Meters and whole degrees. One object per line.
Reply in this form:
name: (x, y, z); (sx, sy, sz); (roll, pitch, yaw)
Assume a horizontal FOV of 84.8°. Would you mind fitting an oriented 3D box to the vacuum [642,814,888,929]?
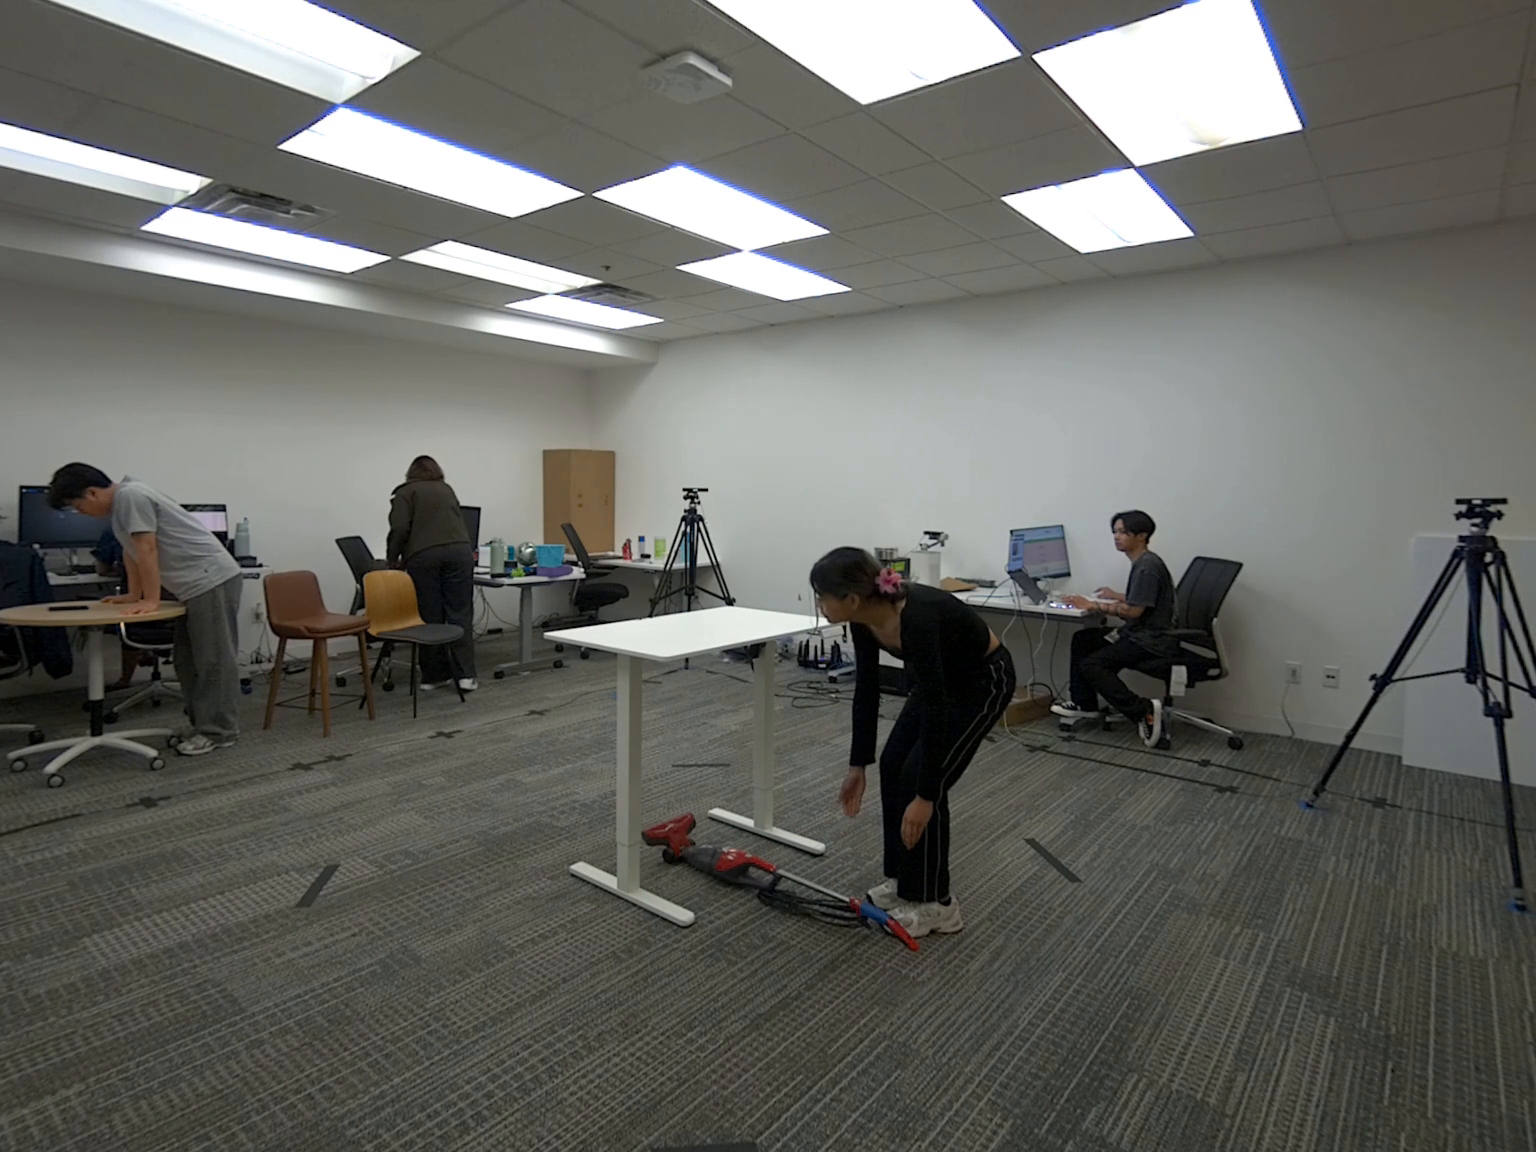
vacuum: (0.032, 1.048, 2.857); (1.086, 0.143, 0.245); (7, 8, 42)
